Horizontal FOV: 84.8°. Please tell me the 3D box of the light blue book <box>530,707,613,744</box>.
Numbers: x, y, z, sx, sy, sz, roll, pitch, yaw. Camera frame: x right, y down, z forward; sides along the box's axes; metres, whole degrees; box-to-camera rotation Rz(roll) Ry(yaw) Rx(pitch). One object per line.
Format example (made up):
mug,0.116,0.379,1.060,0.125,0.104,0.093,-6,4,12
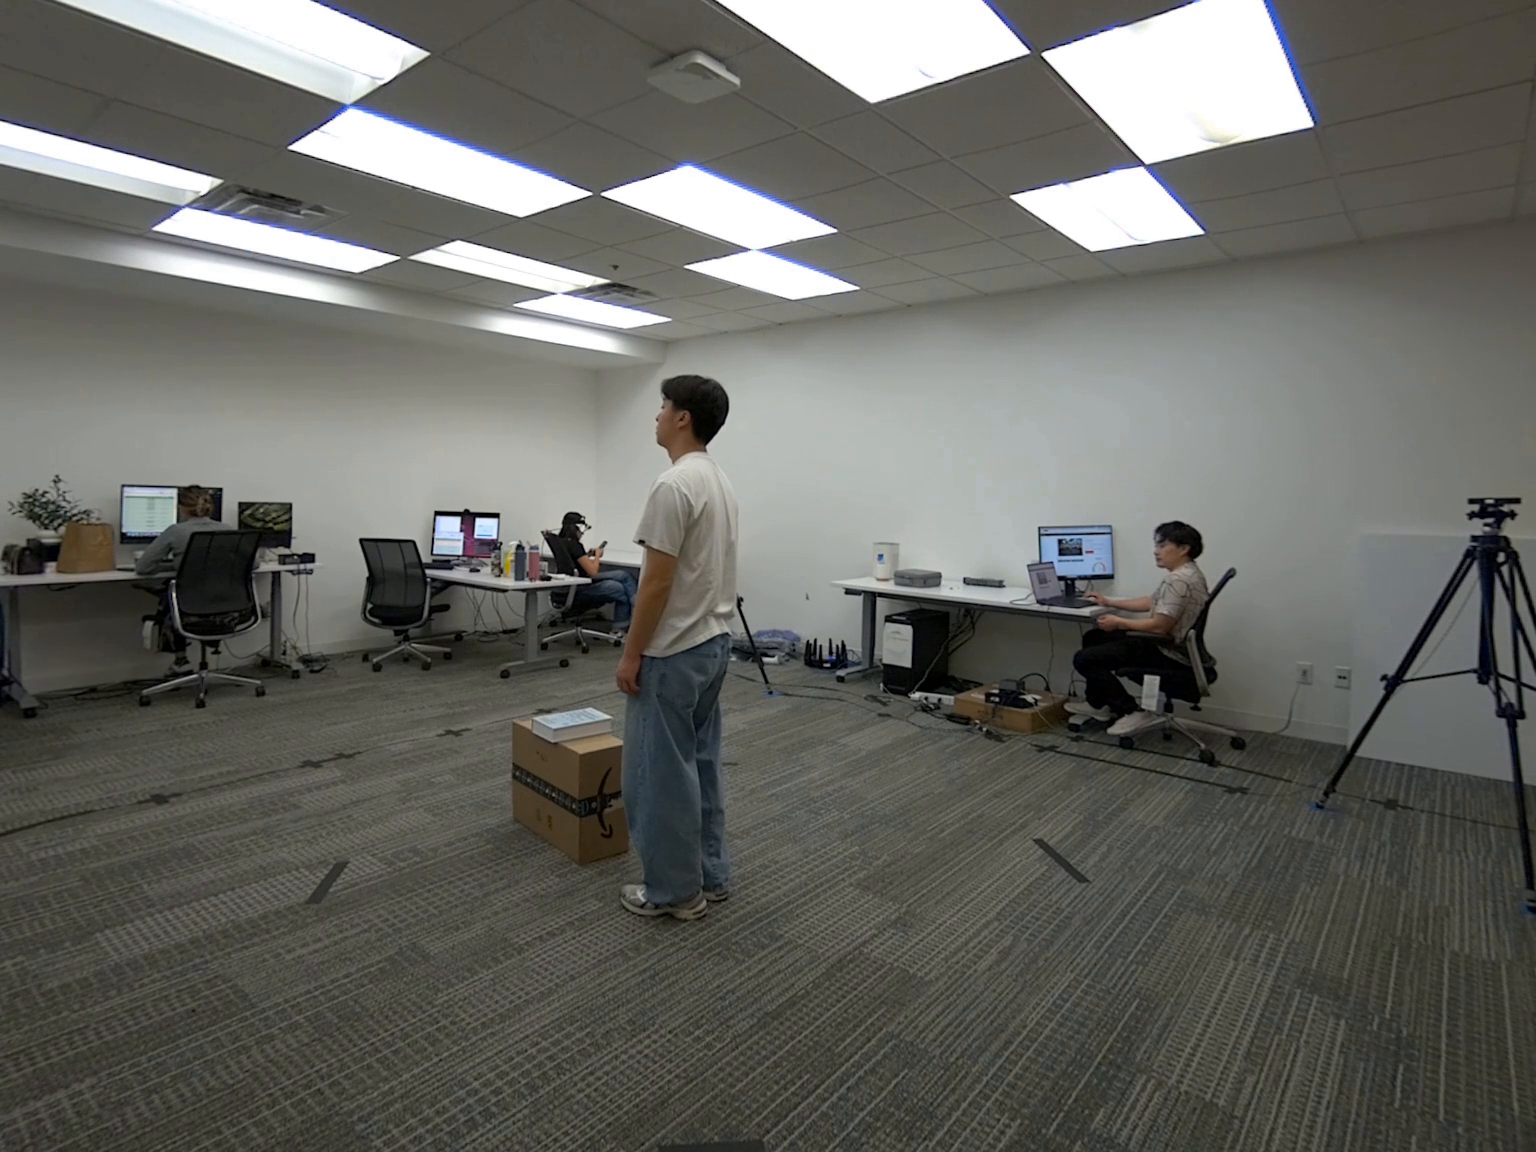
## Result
light blue book,-0.793,0.587,3.373,0.253,0.059,0.198,-4,8,-39
